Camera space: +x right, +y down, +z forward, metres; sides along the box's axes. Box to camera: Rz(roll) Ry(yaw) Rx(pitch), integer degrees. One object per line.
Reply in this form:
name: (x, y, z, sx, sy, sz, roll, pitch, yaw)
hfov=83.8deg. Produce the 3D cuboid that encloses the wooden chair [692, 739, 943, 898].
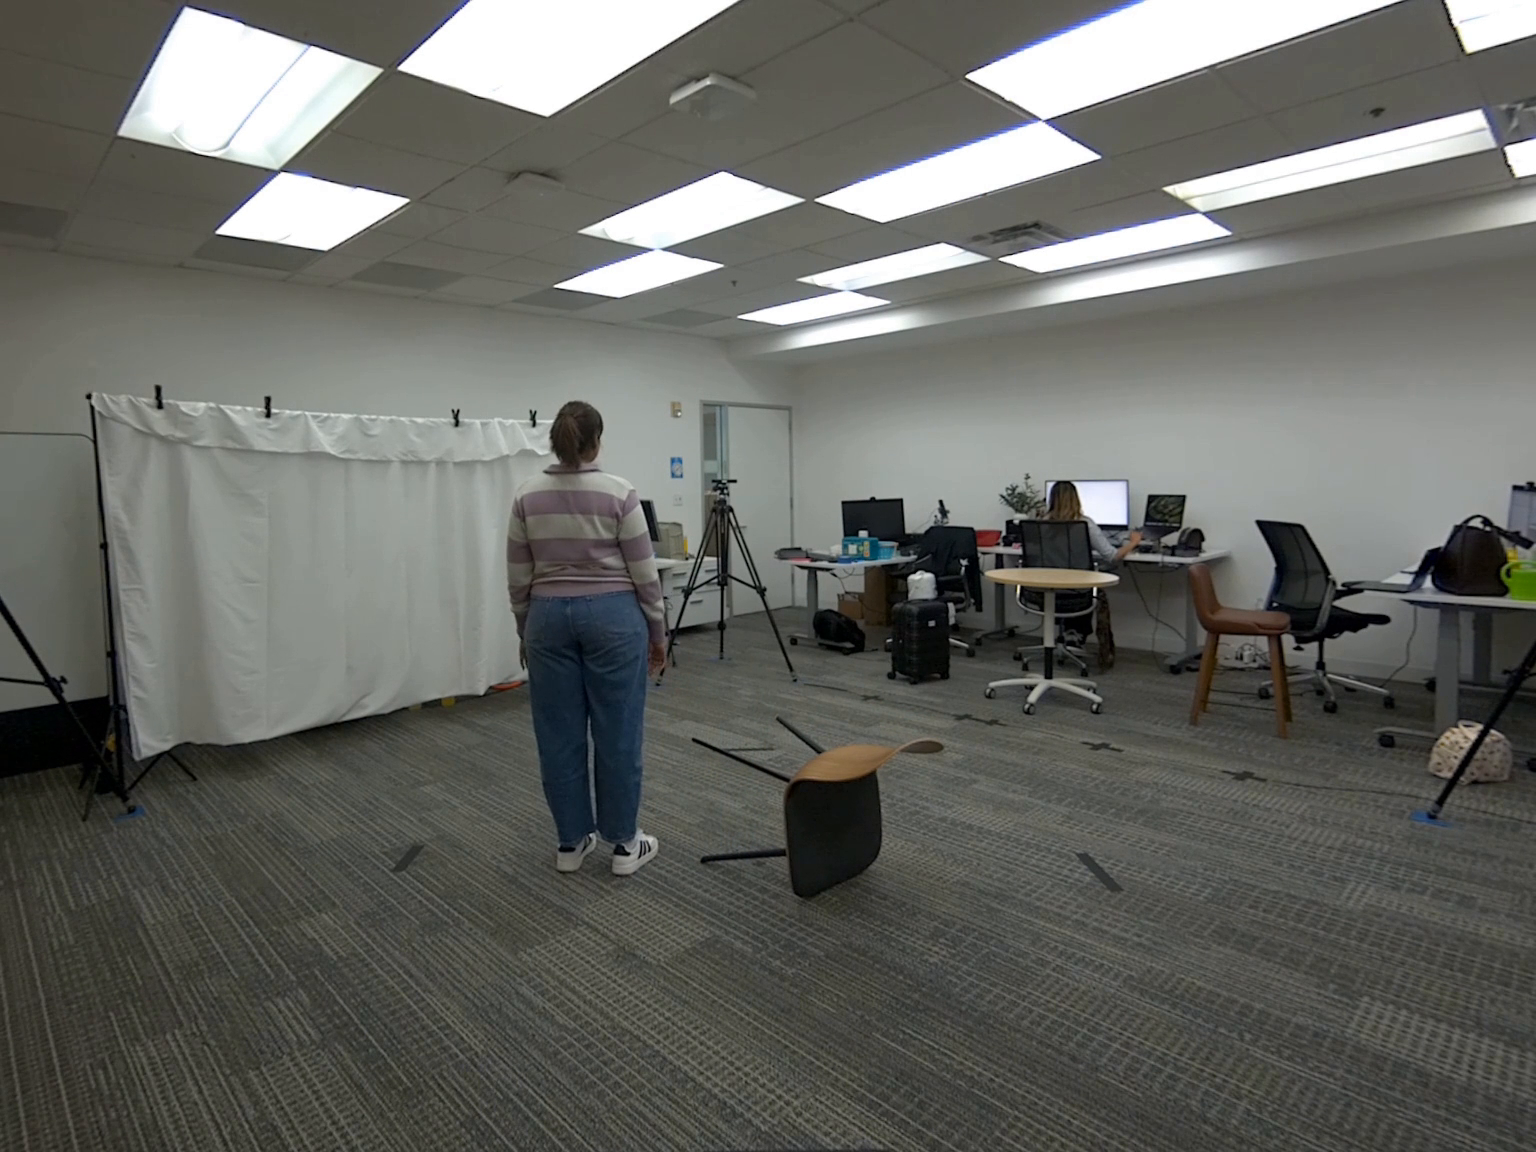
wooden chair: (0.196, 0.805, 2.950, 0.465, 0.525, 0.899, -4, -2, -42)
